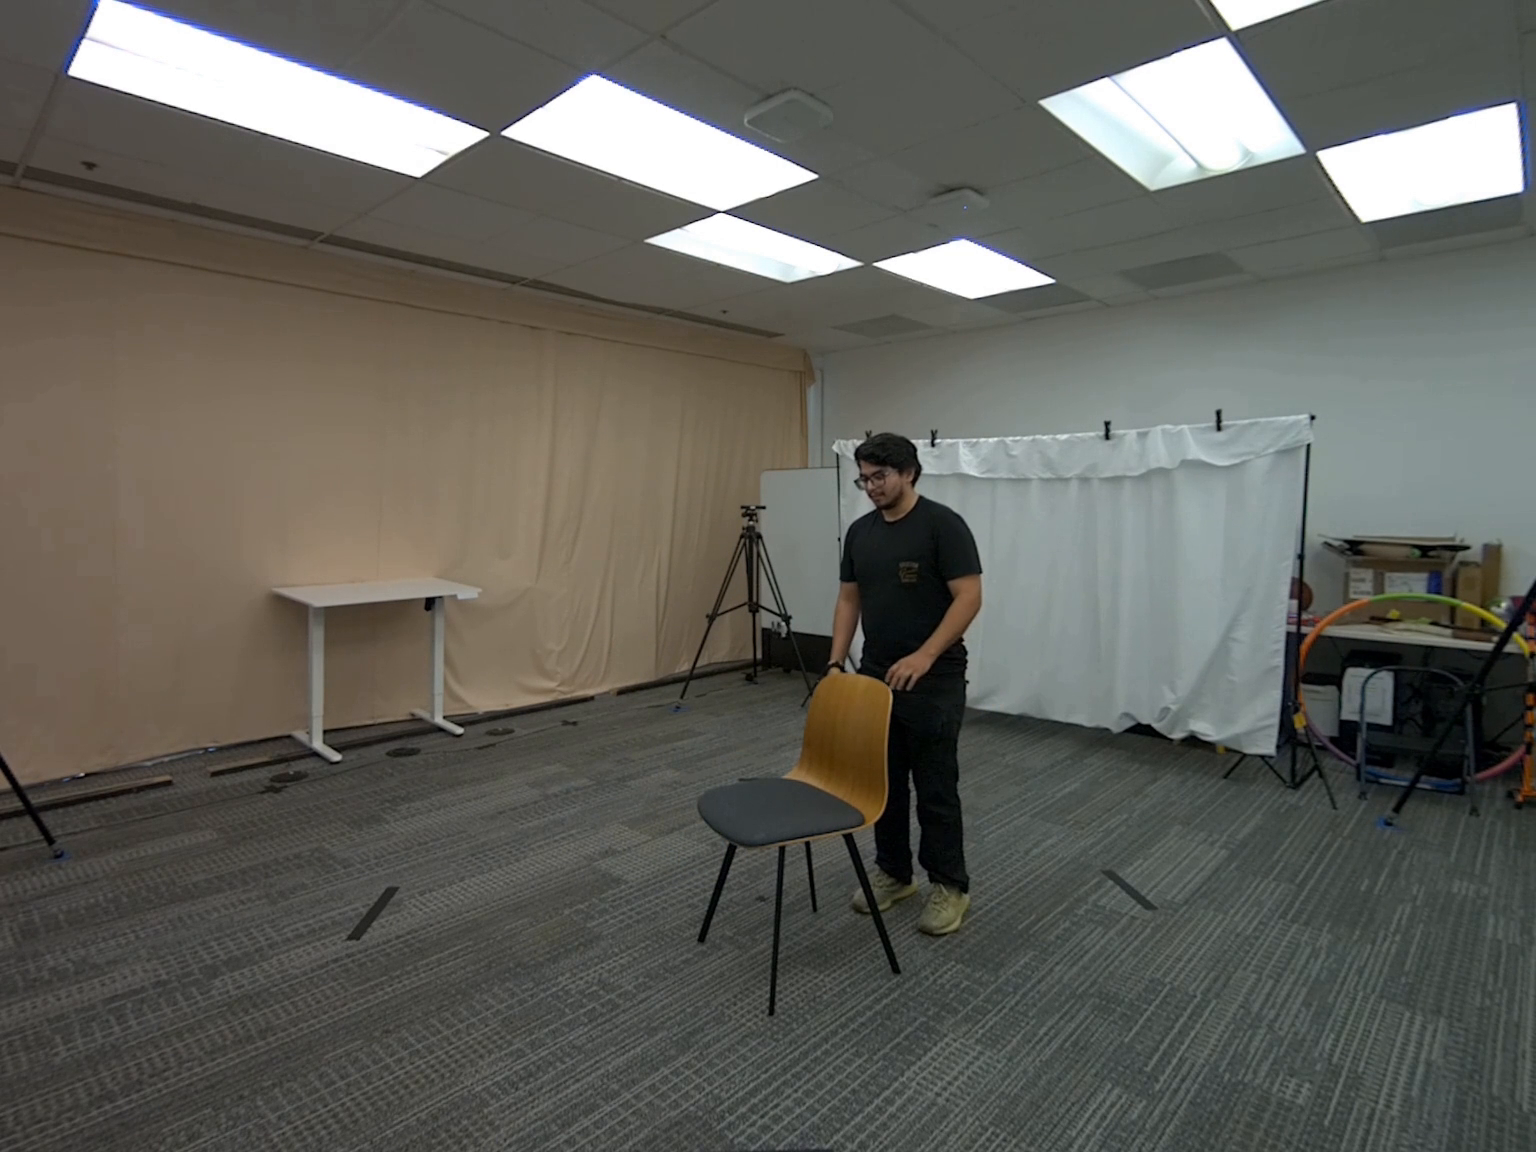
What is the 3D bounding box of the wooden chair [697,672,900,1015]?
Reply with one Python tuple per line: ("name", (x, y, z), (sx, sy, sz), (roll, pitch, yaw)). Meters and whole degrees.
("wooden chair", (0.082, 0.752, 2.565), (0.508, 0.876, 0.492), (3, 2, -30))
